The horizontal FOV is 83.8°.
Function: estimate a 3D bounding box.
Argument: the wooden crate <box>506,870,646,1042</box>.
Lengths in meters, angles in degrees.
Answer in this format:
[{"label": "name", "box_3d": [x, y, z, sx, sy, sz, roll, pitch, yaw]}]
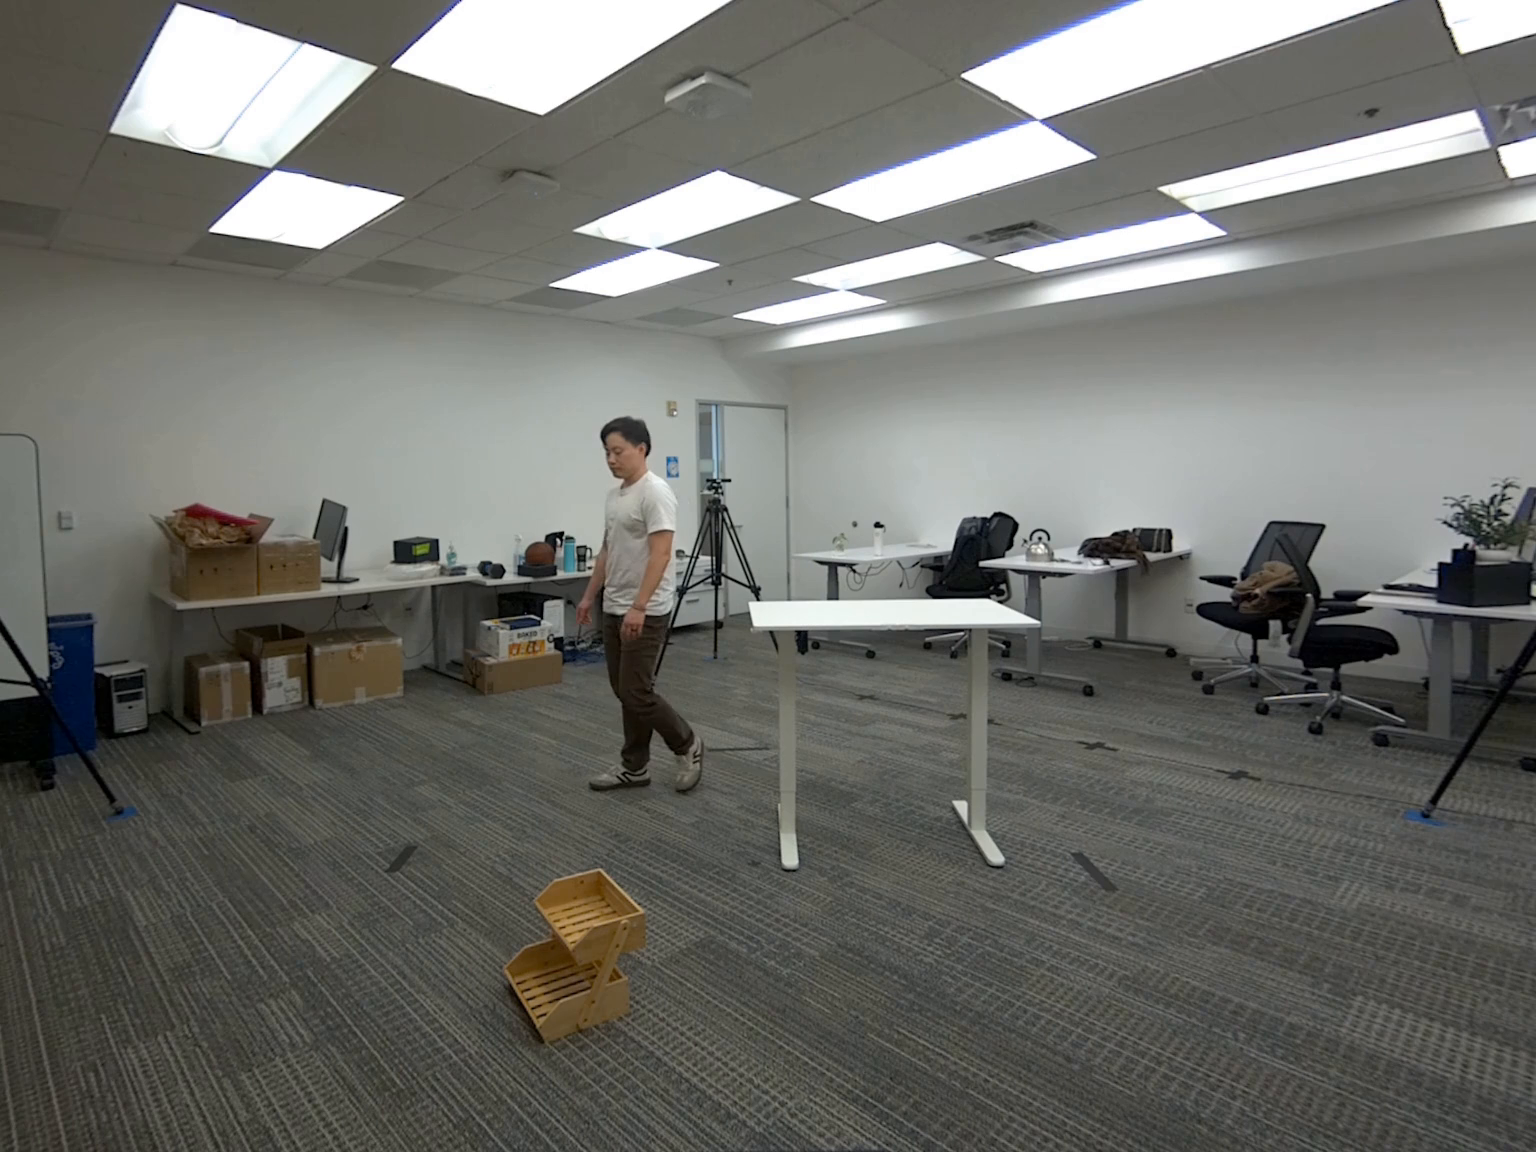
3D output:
[{"label": "wooden crate", "box_3d": [-0.531, 1.018, 2.318, 0.295, 0.272, 0.334, -3, 6, -32]}]
